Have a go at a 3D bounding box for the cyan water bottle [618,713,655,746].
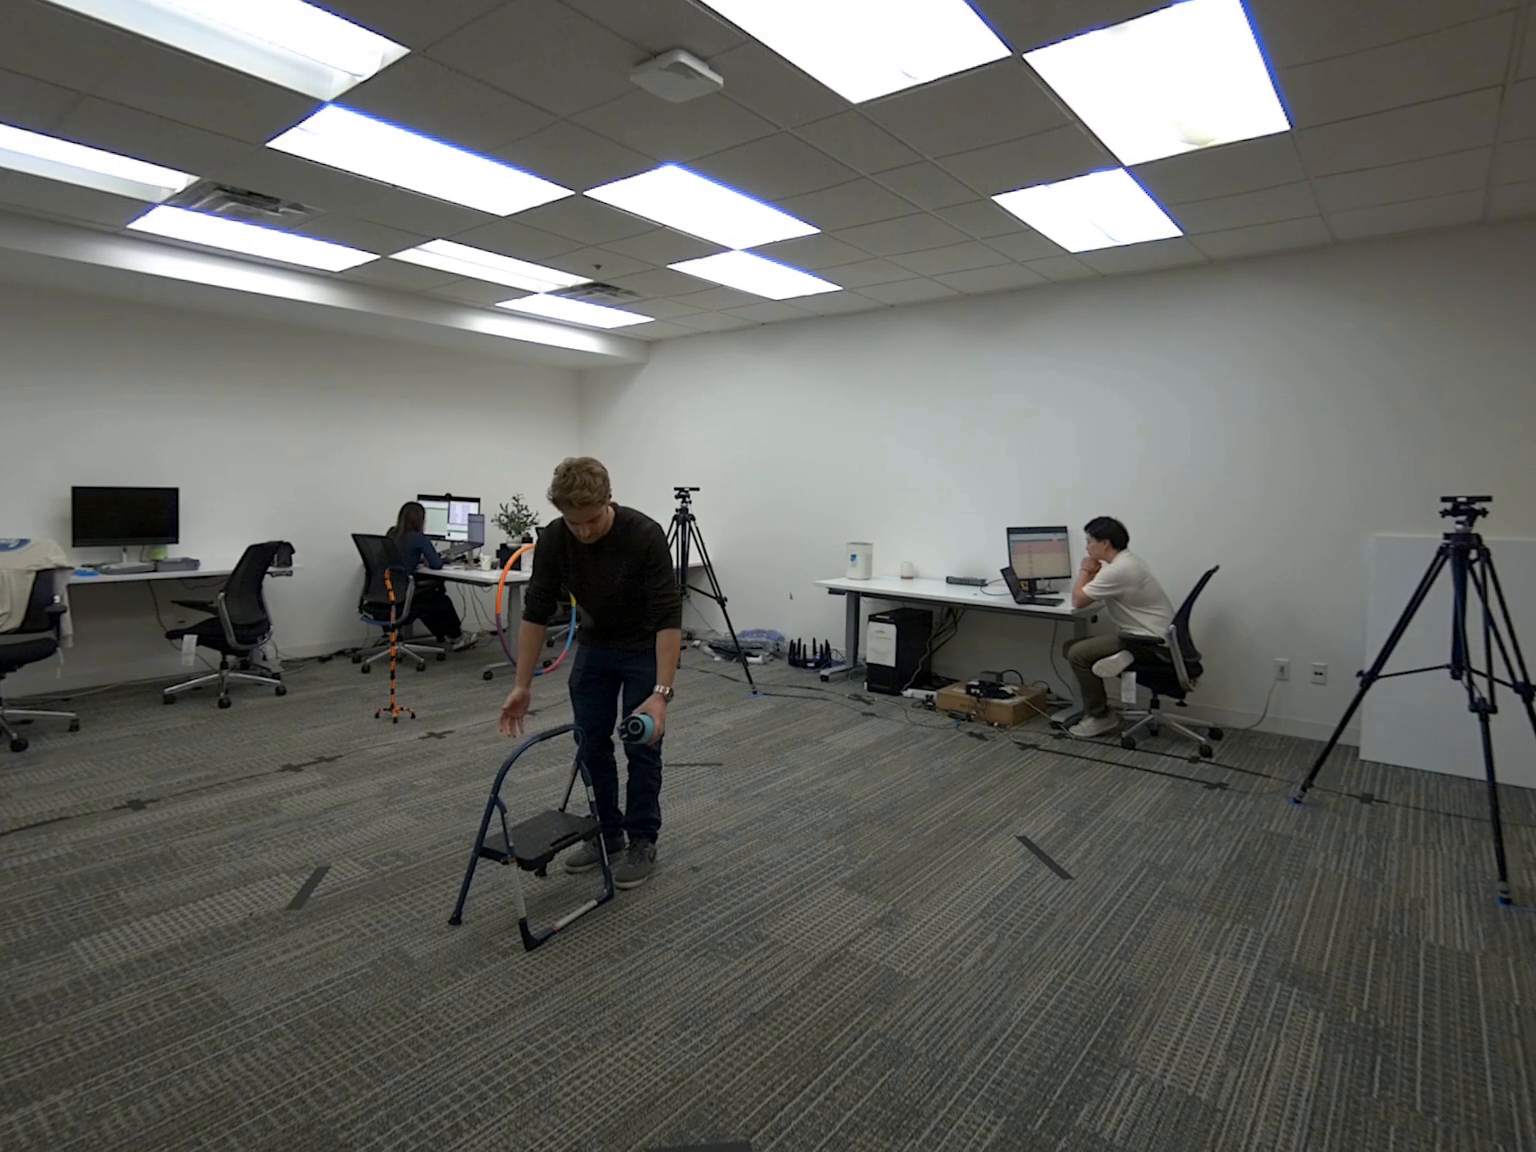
[{"bbox_3d":[-0.423,0.488,2.701,0.093,0.093,0.278,2,-10,7],"label":"cyan water bottle"}]
